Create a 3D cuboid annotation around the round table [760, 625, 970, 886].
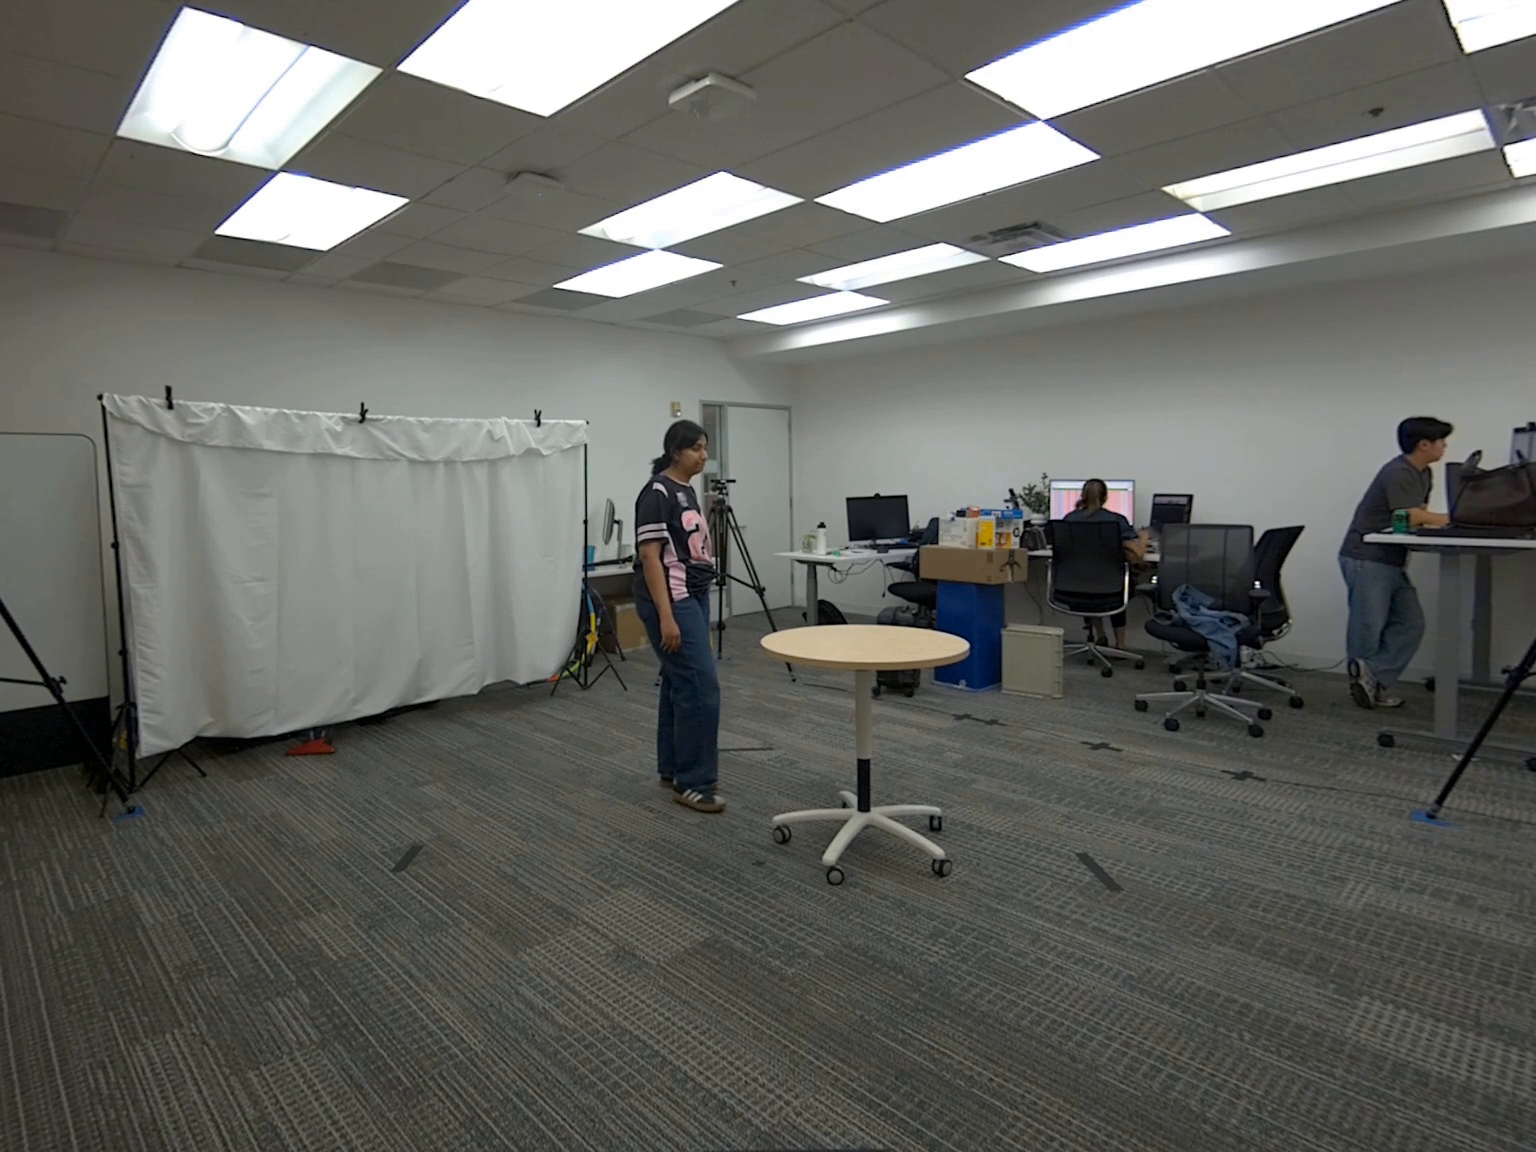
[{"bbox_3d":[0.366,0.634,3.226,0.784,0.783,0.789,-1,5,-2],"label":"round table"}]
